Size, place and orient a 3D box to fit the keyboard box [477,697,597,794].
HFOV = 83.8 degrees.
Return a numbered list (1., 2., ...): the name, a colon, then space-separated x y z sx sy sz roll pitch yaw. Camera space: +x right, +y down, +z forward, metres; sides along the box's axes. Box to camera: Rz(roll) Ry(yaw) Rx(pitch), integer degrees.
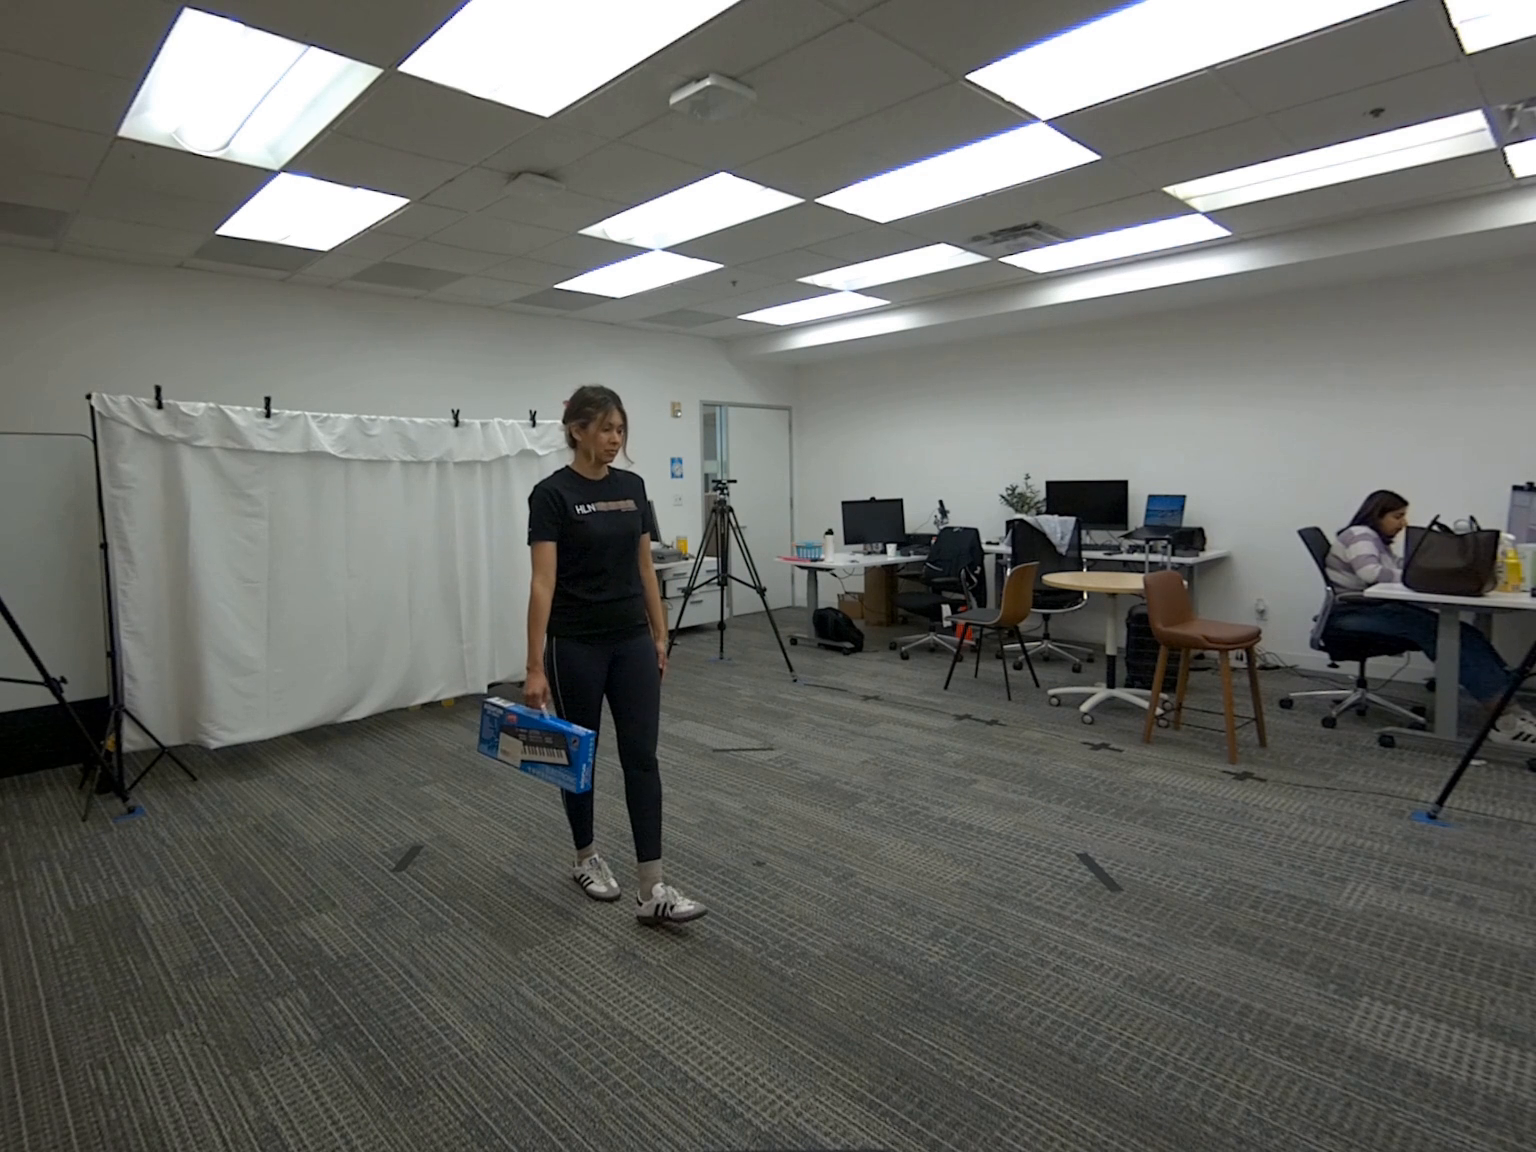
1. keyboard box: -0.703 0.506 2.578 0.450 0.175 0.057 10 4 33
